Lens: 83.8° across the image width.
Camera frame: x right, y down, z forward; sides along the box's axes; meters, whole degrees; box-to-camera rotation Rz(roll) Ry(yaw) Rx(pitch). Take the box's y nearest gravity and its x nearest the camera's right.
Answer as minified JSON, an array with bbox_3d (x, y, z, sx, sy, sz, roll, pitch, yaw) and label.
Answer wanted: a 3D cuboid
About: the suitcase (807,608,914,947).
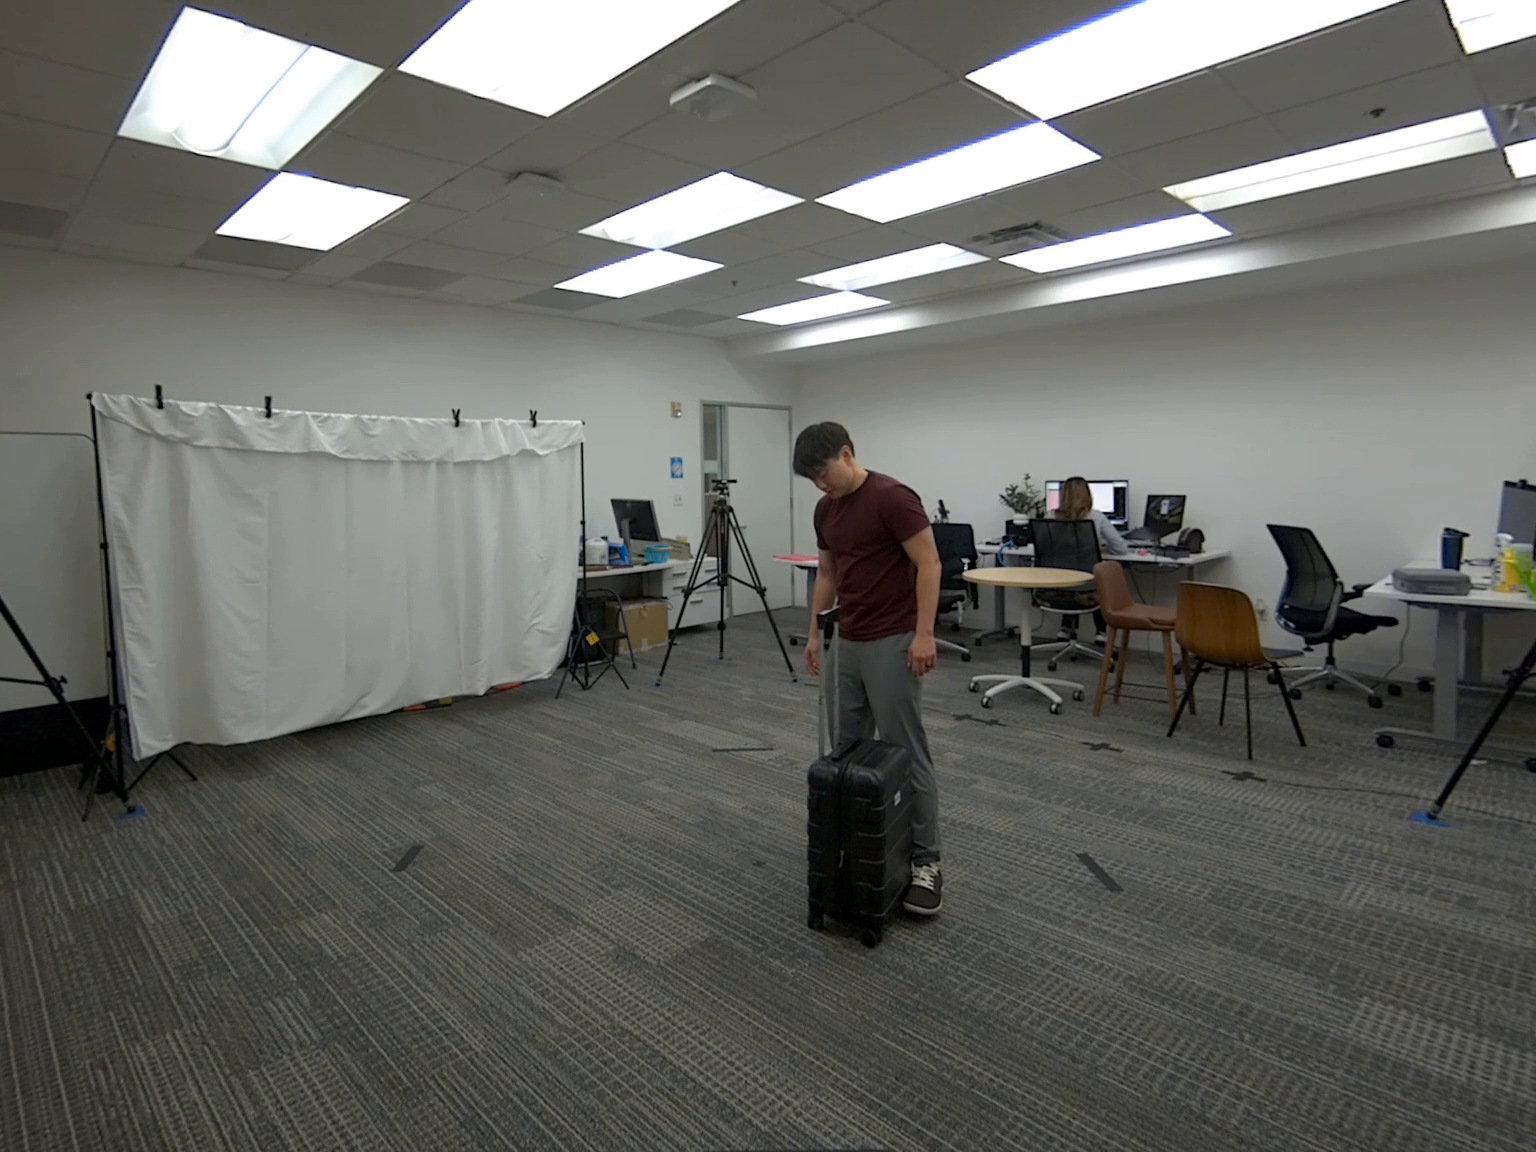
[{"bbox_3d":[0.300,0.608,2.690,0.263,0.974,0.376,3,6,26],"label":"suitcase"}]
